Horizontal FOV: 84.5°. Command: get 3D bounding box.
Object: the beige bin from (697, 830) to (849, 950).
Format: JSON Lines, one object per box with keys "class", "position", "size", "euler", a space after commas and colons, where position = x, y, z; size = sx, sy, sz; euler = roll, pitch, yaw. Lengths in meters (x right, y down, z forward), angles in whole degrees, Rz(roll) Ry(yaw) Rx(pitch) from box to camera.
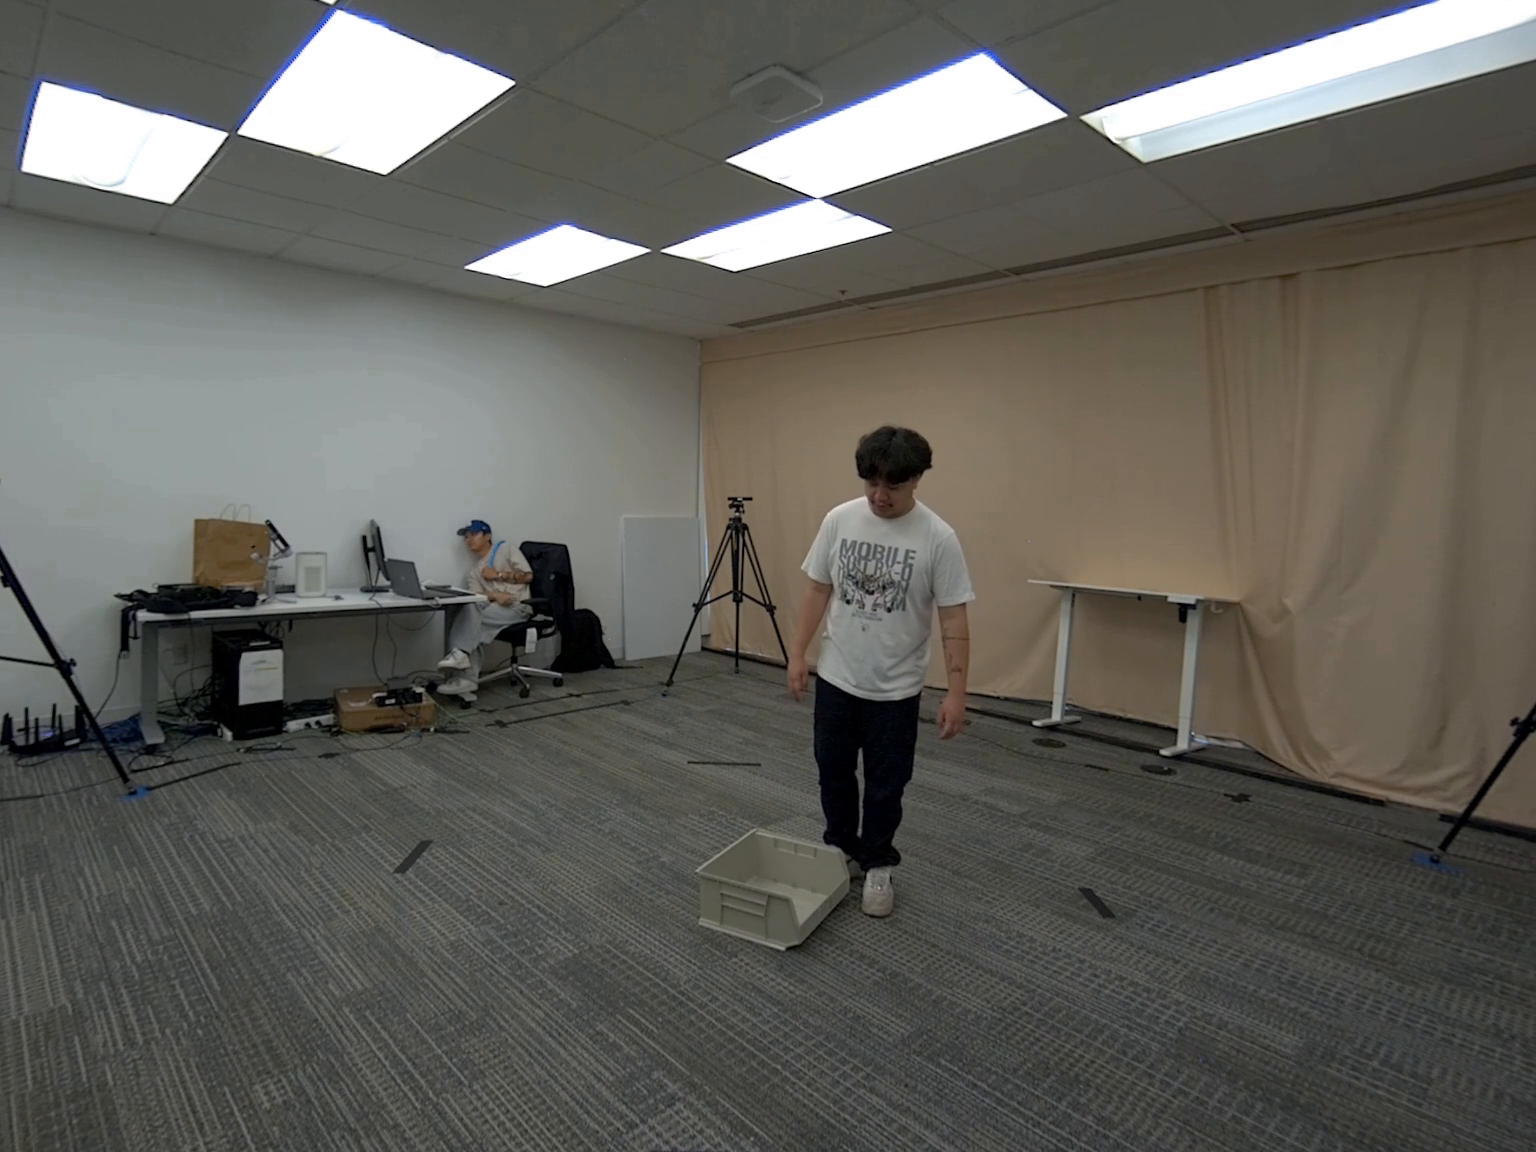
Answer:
{"class": "beige bin", "position": [0.017, 1.047, 2.828], "size": [0.385, 0.188, 0.415], "euler": [3, 5, 28]}
